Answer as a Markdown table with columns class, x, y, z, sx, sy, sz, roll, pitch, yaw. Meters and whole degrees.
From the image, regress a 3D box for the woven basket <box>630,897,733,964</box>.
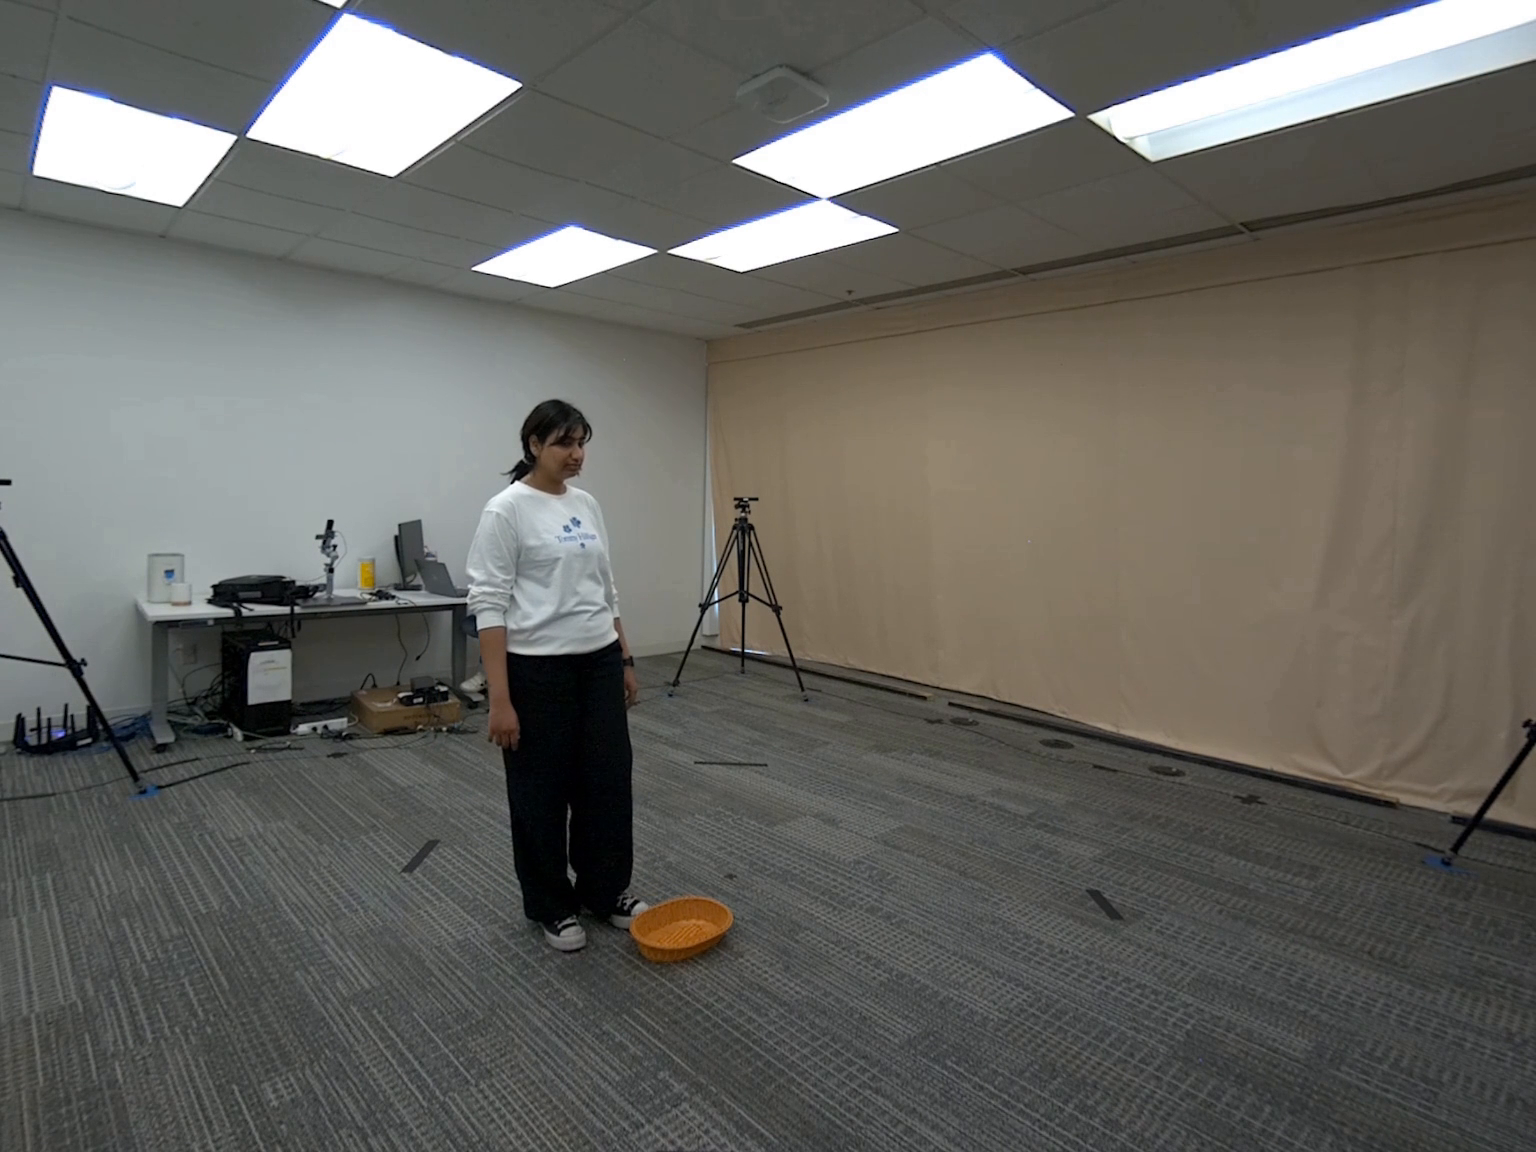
| class | x | y | z | sx | sy | sz | roll | pitch | yaw |
| --- | --- | --- | --- | --- | --- | --- | --- | --- | --- |
| woven basket | -0.275 | 1.106 | 2.628 | 0.342 | 0.073 | 0.259 | -3 | 8 | -43 |
